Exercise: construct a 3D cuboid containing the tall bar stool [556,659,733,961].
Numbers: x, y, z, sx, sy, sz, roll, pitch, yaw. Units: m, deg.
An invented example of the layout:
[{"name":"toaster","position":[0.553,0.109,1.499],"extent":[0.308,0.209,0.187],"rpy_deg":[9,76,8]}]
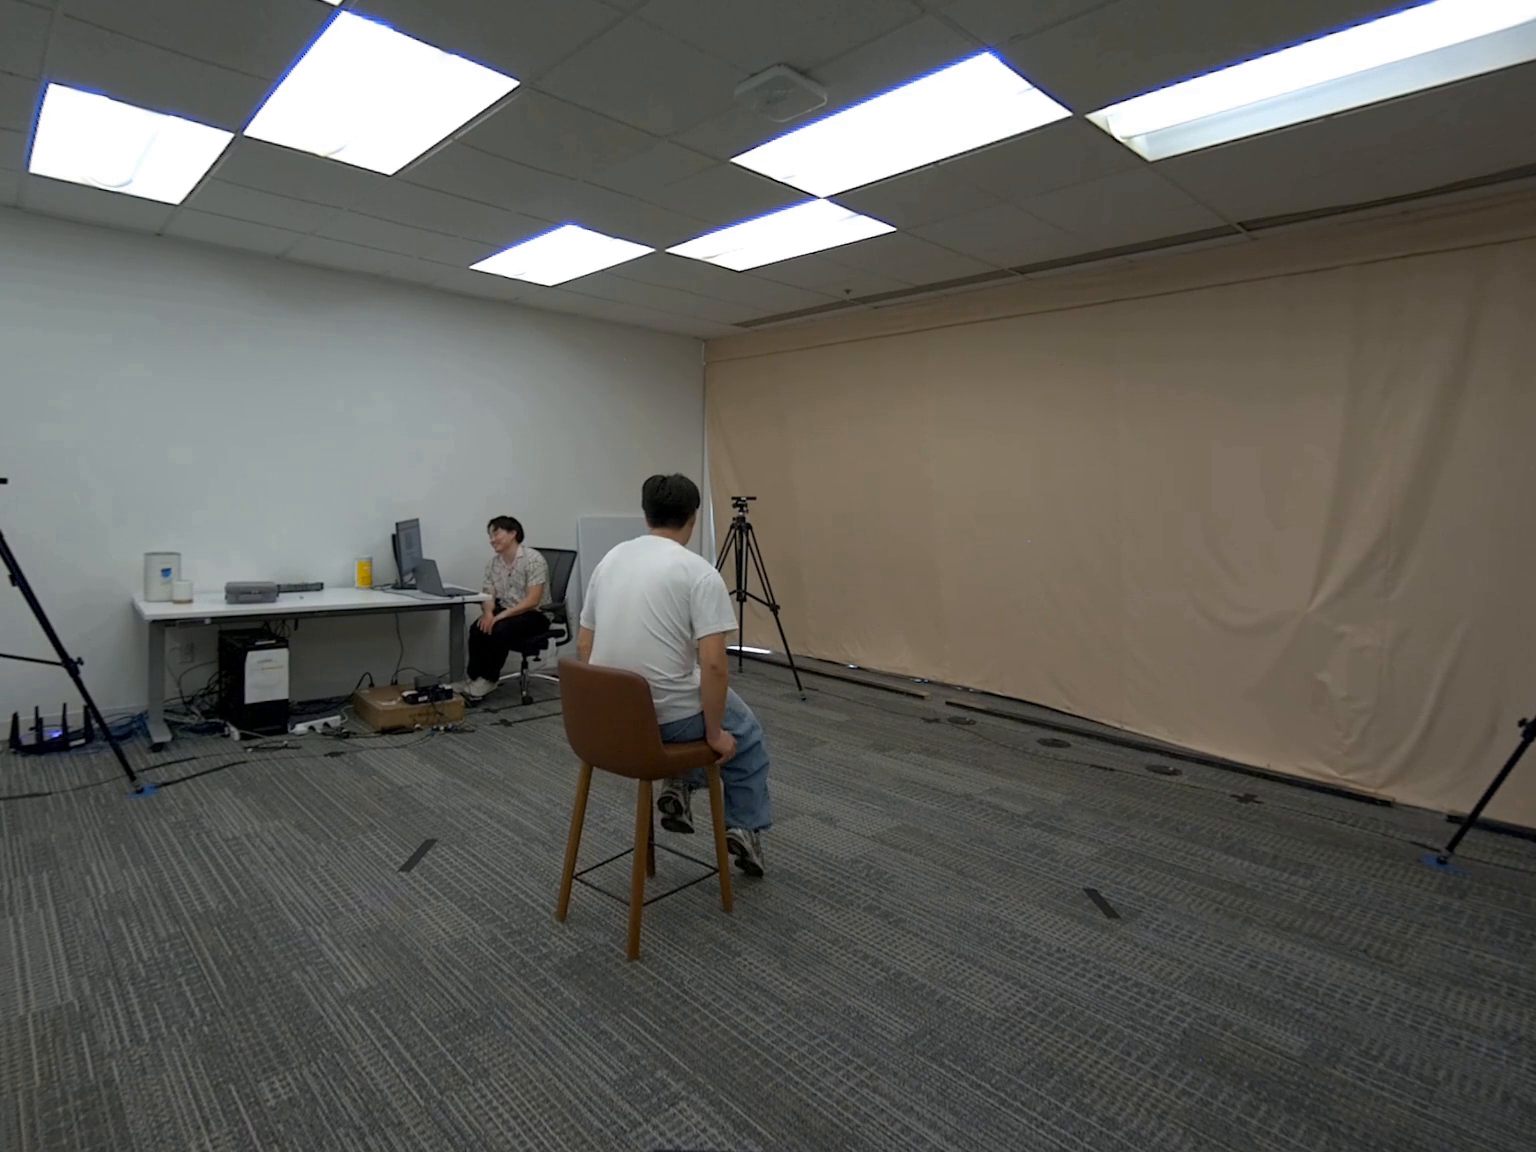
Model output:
[{"name":"tall bar stool","position":[-0.420,0.696,2.771],"extent":[0.468,0.887,0.458],"rpy_deg":[3,6,39]}]
